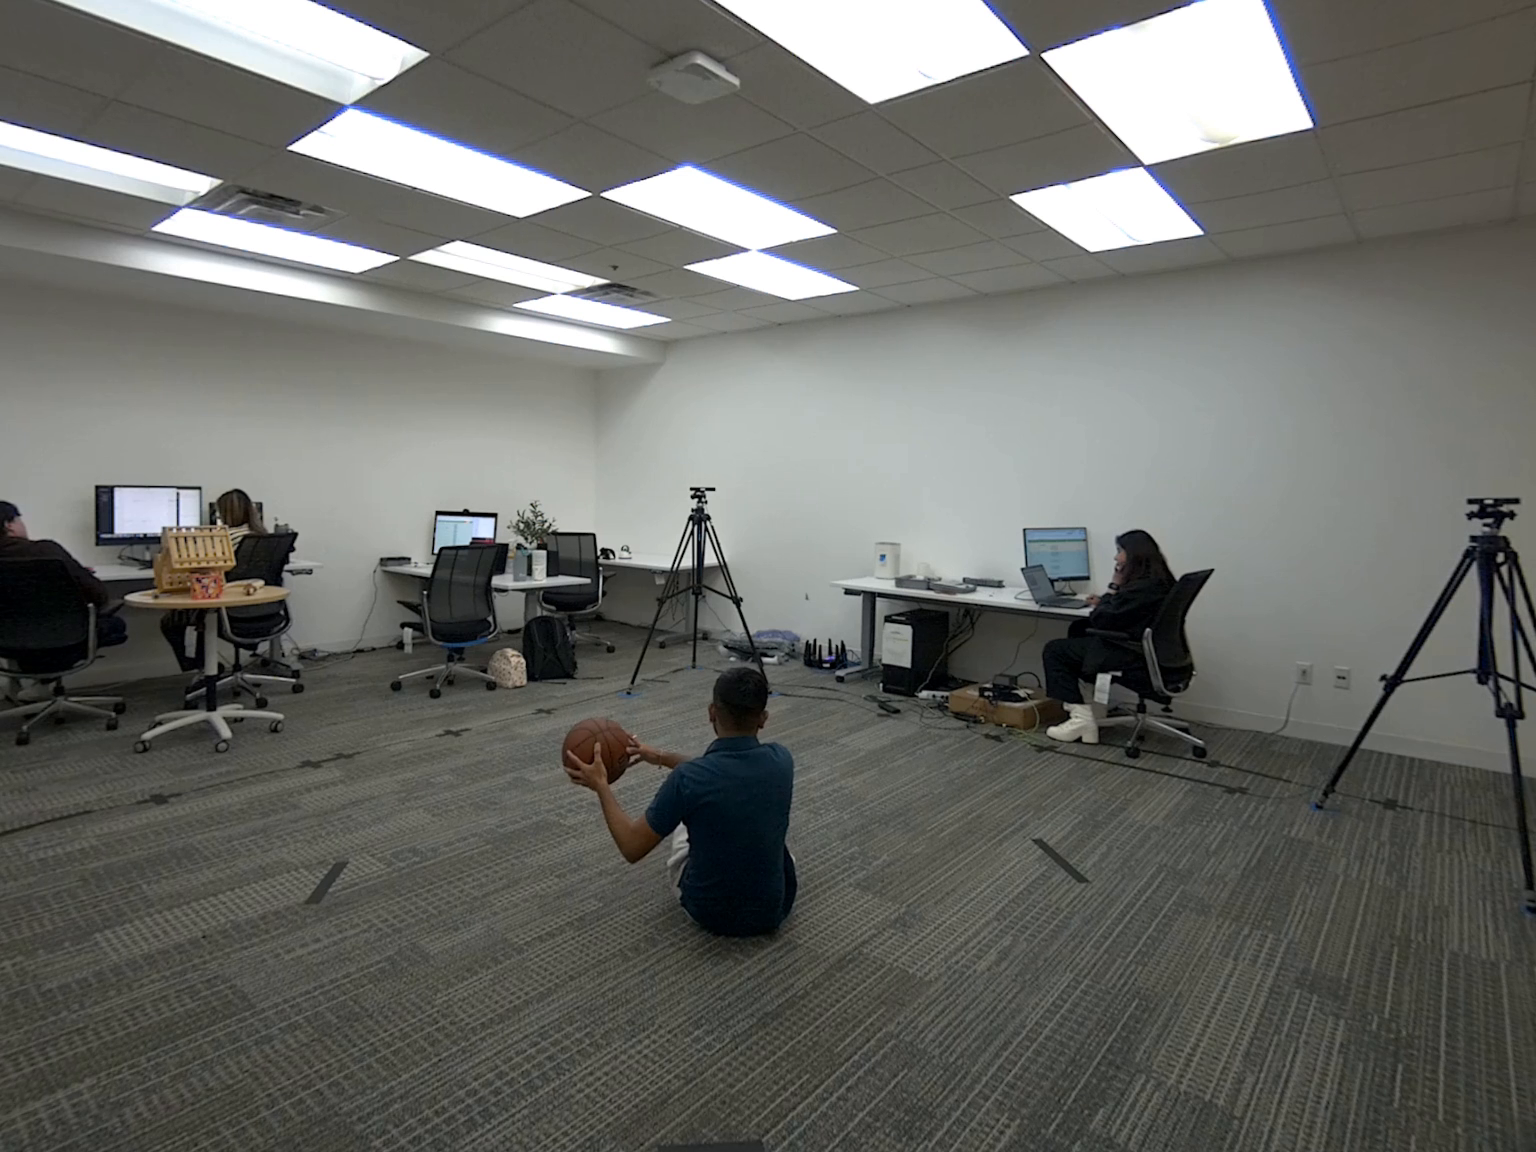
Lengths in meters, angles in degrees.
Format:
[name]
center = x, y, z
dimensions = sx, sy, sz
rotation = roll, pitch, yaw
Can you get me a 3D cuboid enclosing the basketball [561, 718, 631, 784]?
[basketball]
center = -0.603, 0.614, 2.966
dimensions = 0.235, 0.235, 0.237
rotation = 1, 4, -2
